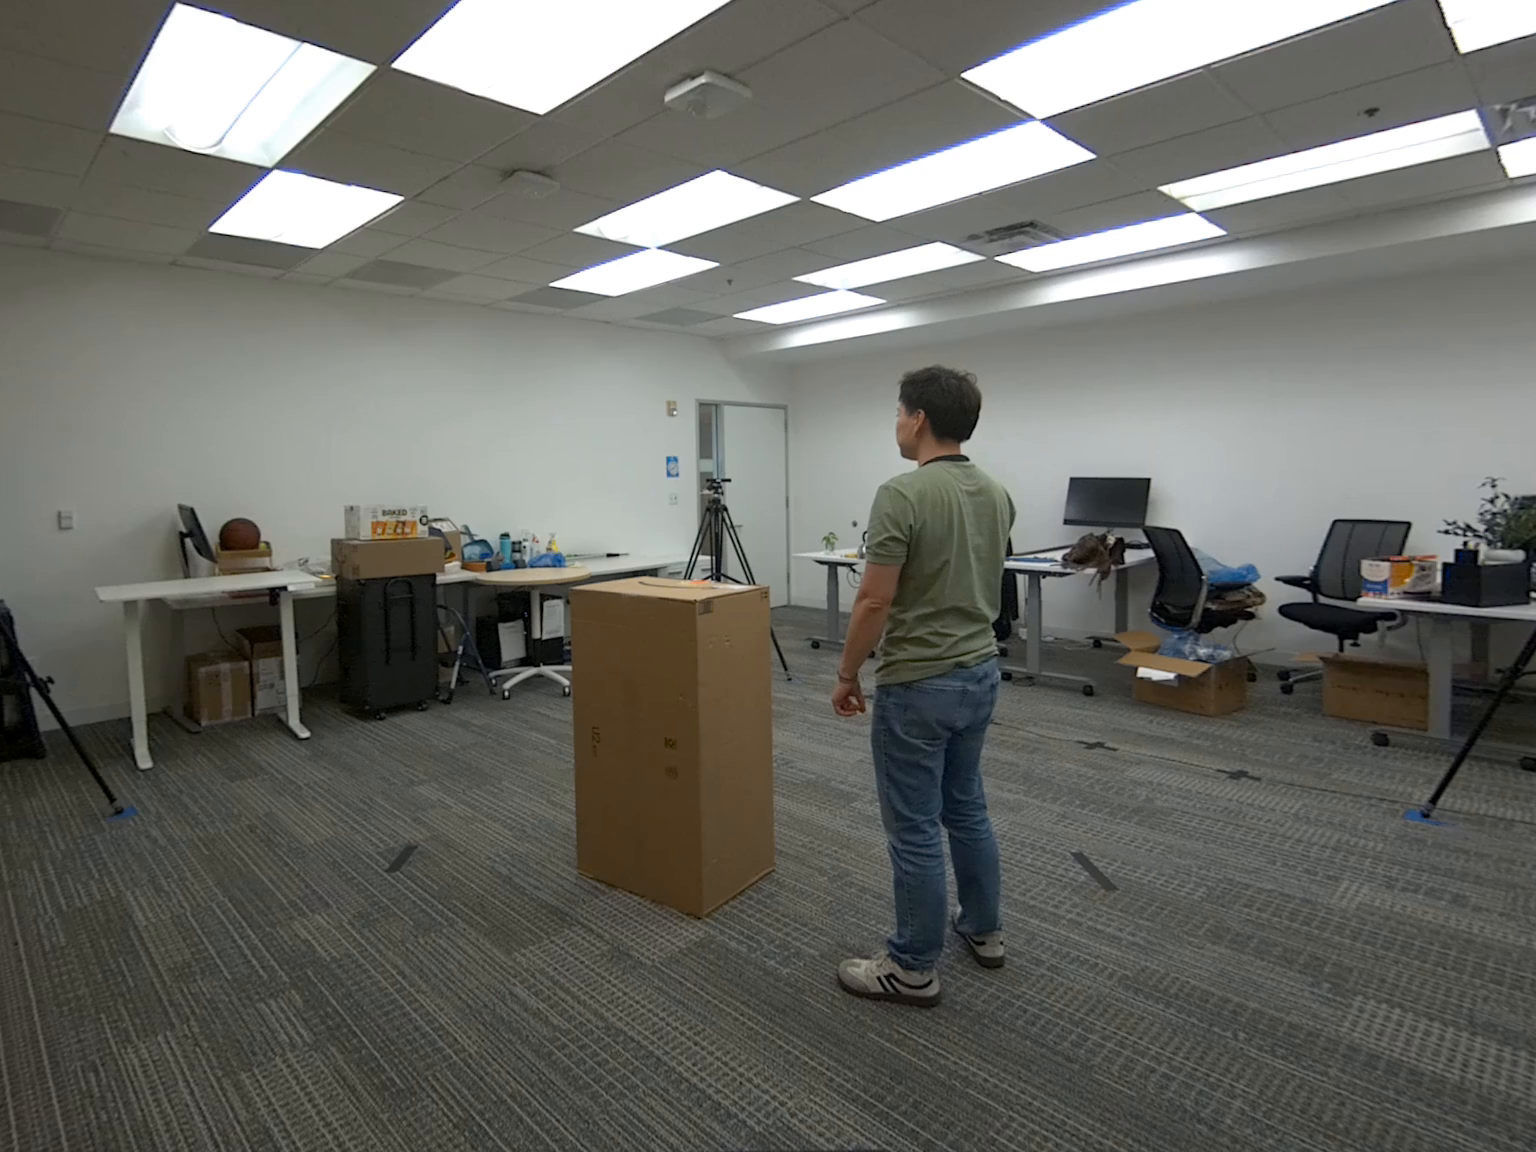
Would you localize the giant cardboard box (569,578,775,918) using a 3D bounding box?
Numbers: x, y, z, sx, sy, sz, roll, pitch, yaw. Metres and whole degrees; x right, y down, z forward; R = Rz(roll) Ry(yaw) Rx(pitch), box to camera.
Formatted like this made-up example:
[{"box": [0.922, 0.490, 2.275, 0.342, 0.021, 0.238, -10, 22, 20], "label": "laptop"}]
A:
[{"box": [-0.336, 0.549, 3.024, 0.594, 1.022, 0.415, 2, 5, 36], "label": "giant cardboard box"}]
